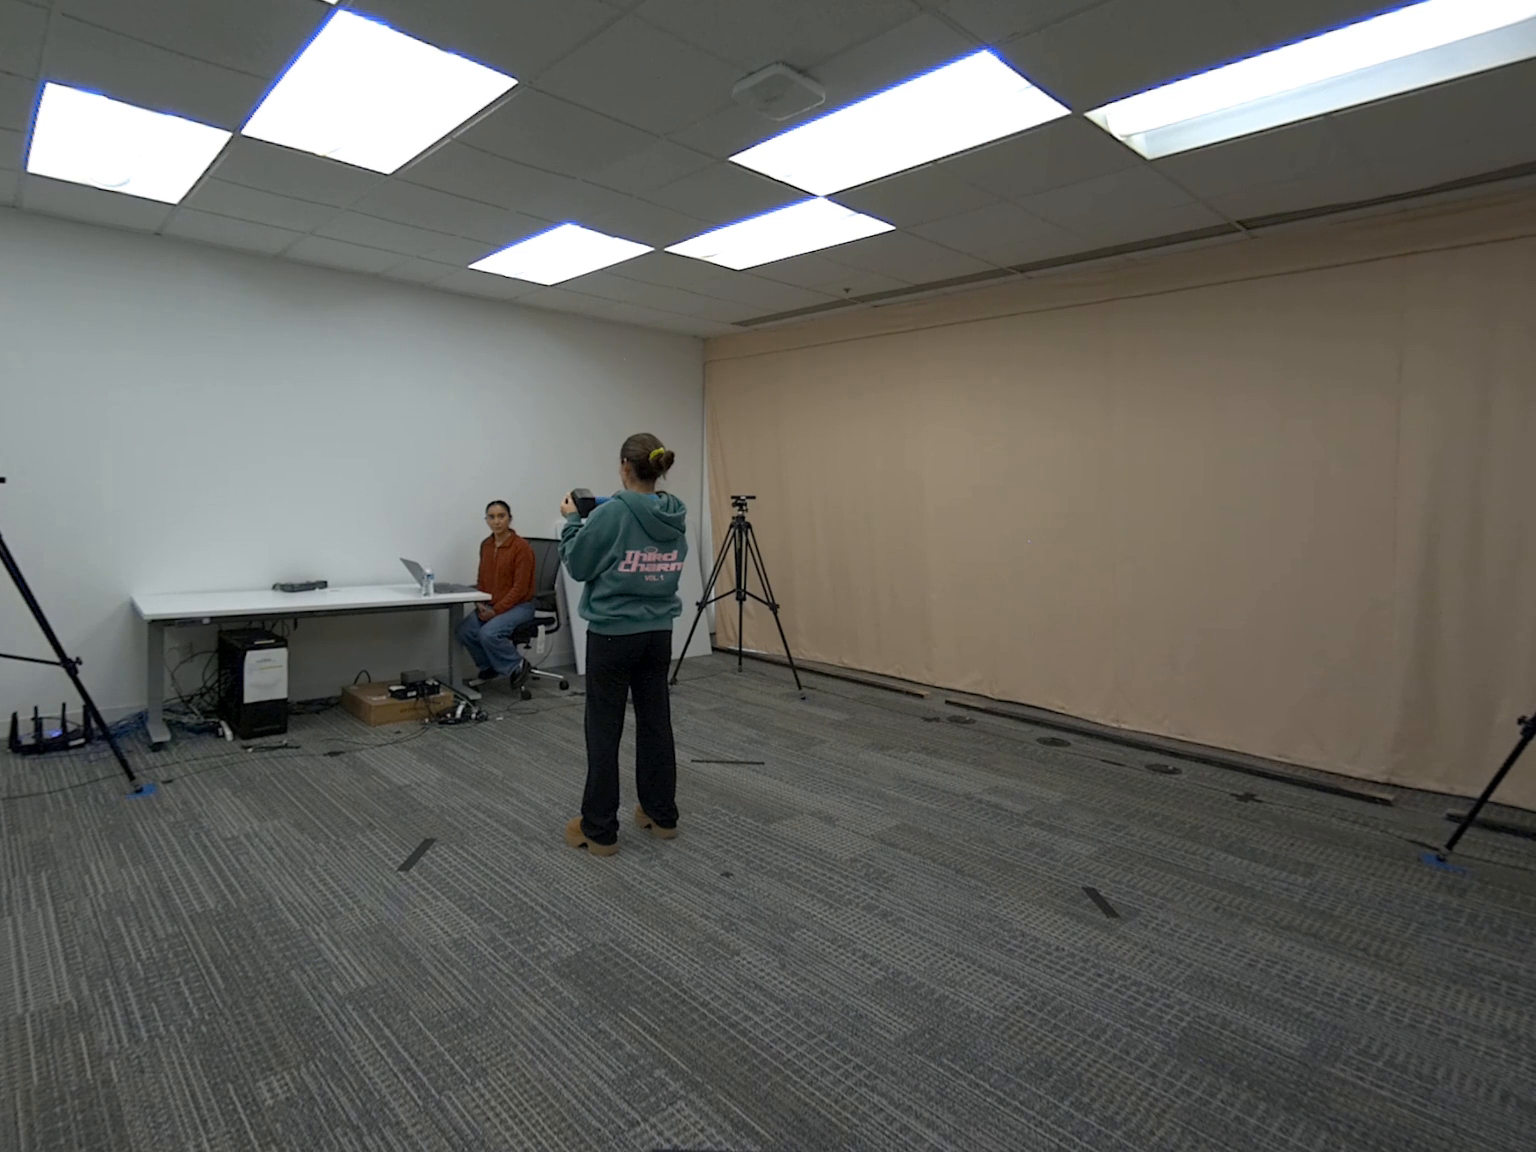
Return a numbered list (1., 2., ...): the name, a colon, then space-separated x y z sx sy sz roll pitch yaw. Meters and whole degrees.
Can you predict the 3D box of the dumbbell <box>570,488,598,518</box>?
1. dumbbell: -0.684 -0.291 3.480 0.287 0.108 0.127 -2 39 -42
